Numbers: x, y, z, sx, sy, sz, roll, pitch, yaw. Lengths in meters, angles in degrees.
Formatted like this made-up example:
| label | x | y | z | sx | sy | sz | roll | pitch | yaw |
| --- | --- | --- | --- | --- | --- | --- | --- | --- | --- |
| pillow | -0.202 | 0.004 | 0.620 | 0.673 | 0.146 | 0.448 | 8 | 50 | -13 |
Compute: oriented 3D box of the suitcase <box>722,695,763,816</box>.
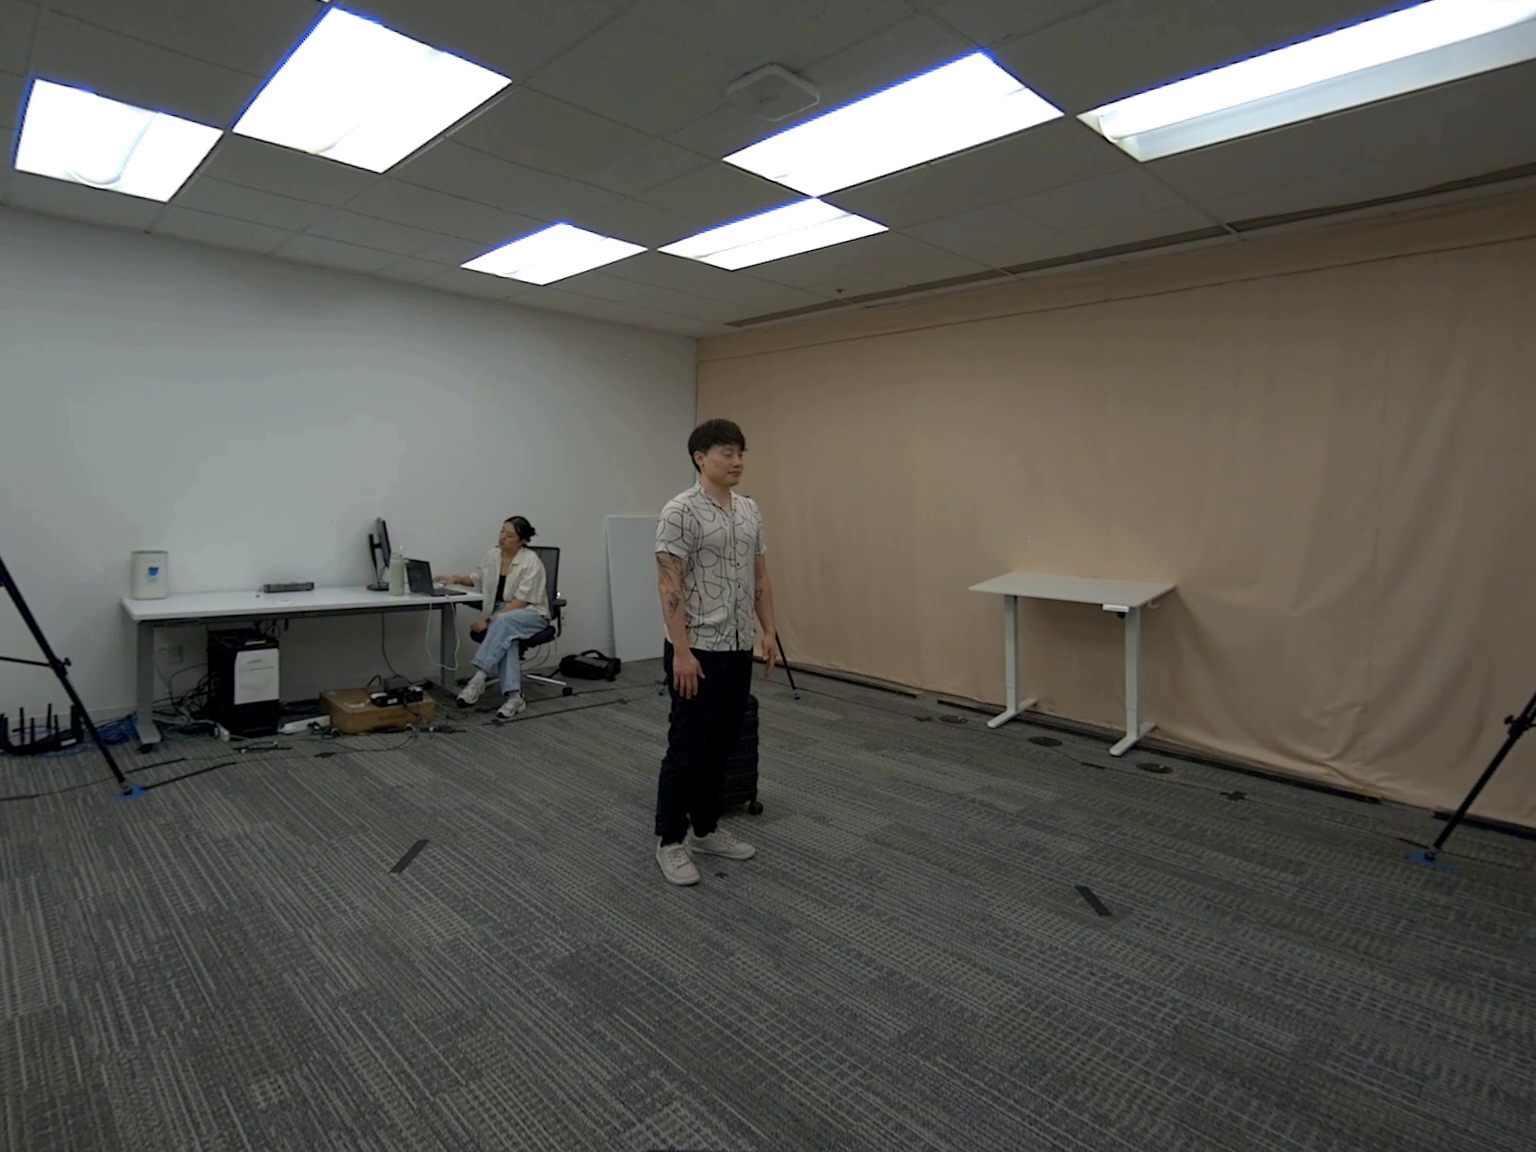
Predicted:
| label | x | y | z | sx | sy | sz | roll | pitch | yaw |
| --- | --- | --- | --- | --- | --- | --- | --- | --- | --- |
| suitcase | -0.241 | 0.771 | 3.741 | 0.368 | 0.548 | 0.254 | -1 | 3 | -31 |
